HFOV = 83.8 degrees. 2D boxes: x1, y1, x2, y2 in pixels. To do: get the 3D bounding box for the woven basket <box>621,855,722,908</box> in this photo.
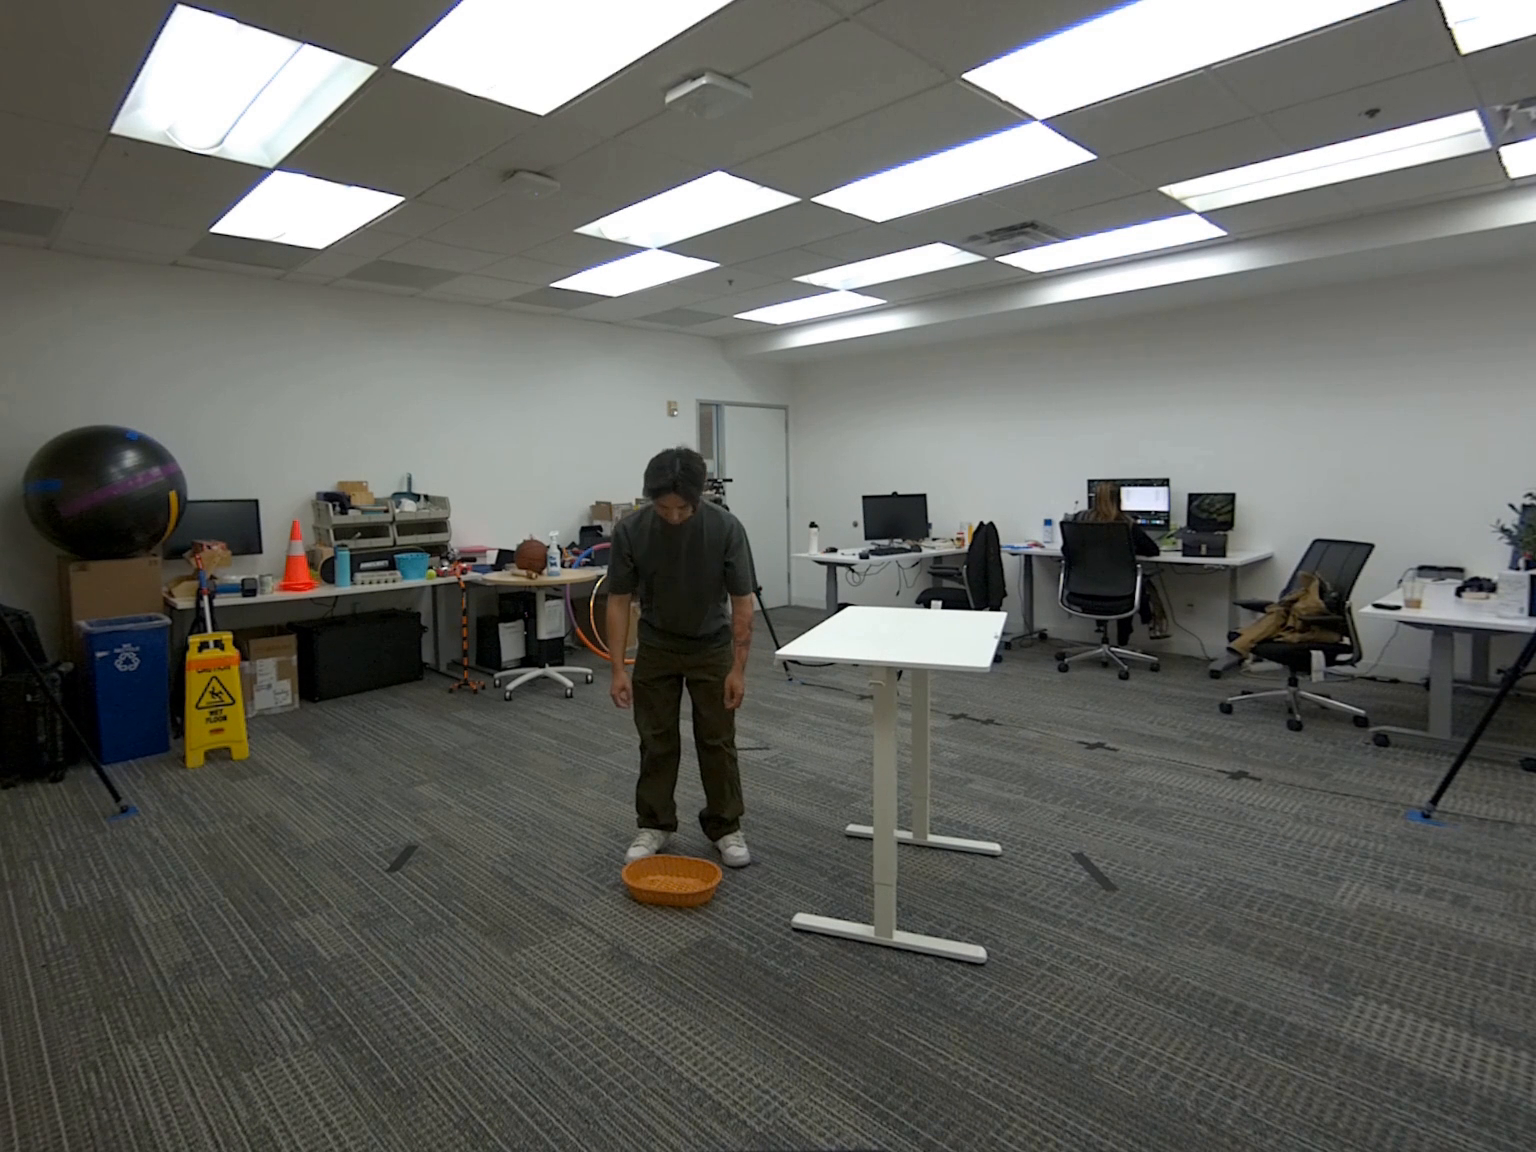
[{"bbox_3d":[-0.325,1.042,2.895,0.357,0.073,0.249,1,7,18],"label":"woven basket"}]
